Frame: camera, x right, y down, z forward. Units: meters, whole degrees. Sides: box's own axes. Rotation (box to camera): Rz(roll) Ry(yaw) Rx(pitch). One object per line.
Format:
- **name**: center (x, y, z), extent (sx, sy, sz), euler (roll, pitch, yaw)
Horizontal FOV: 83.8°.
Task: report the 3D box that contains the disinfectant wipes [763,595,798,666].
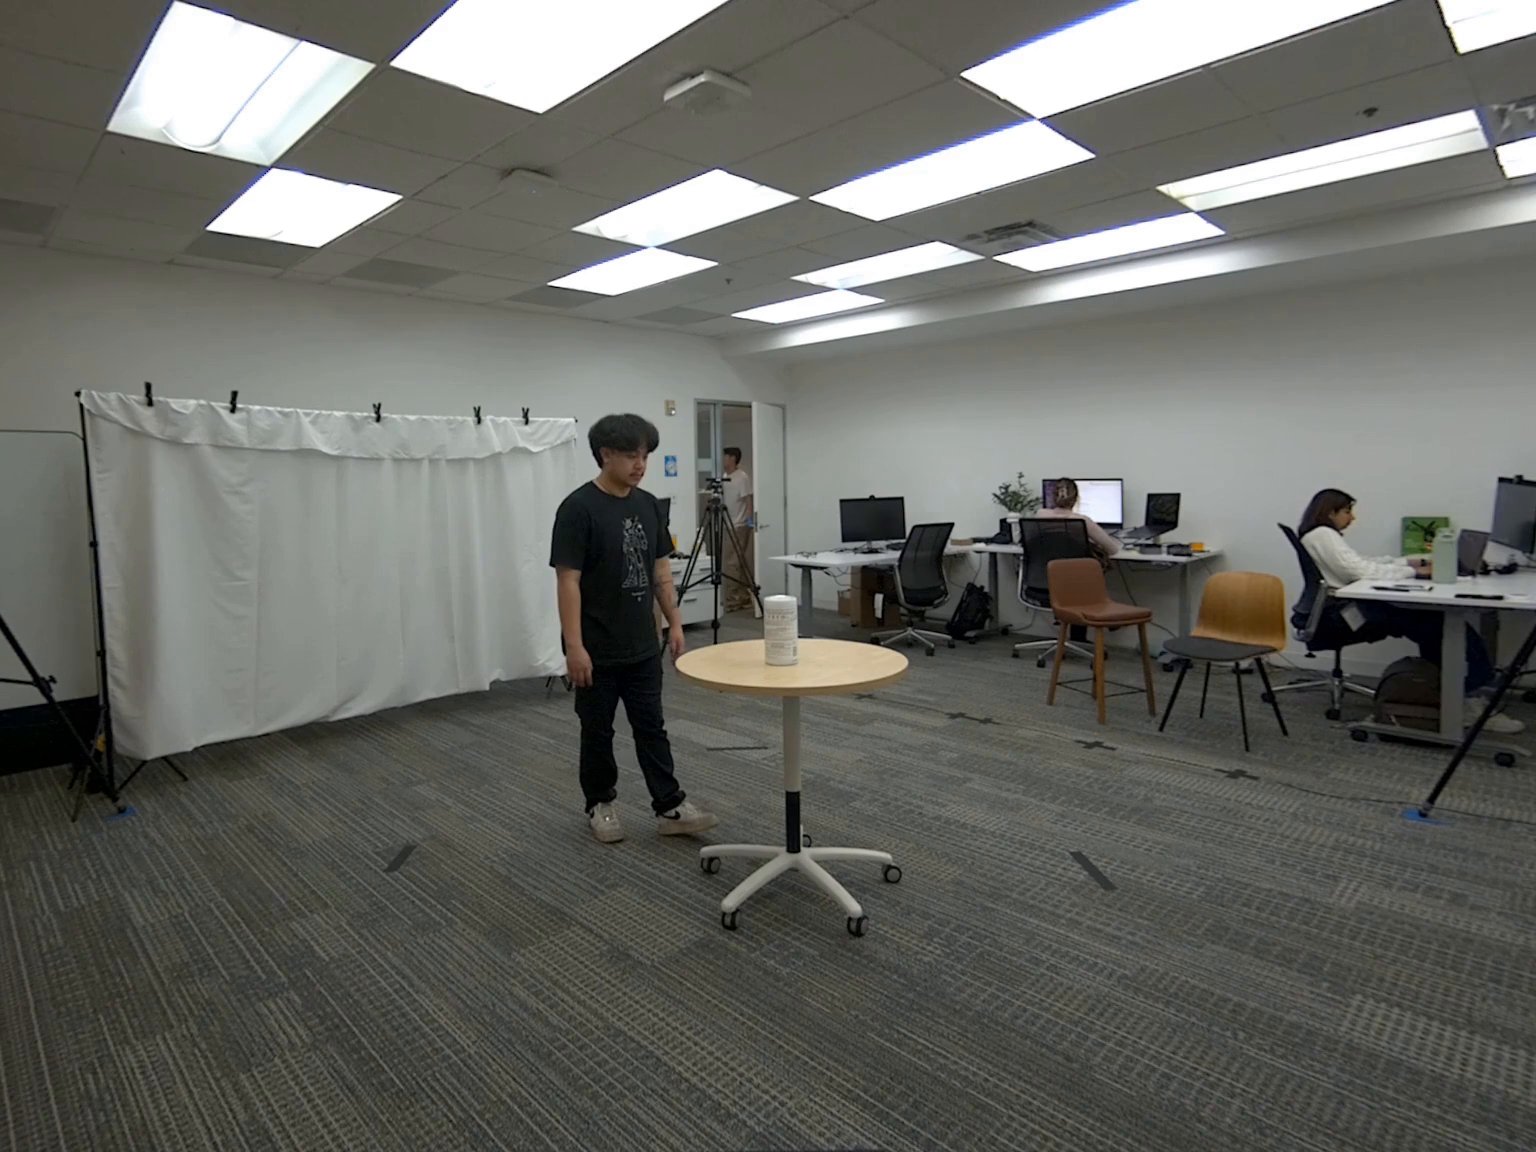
- **disinfectant wipes**: center (0.048, 0.175, 2.791), extent (0.118, 0.217, 0.118), euler (-2, 3, -2)
